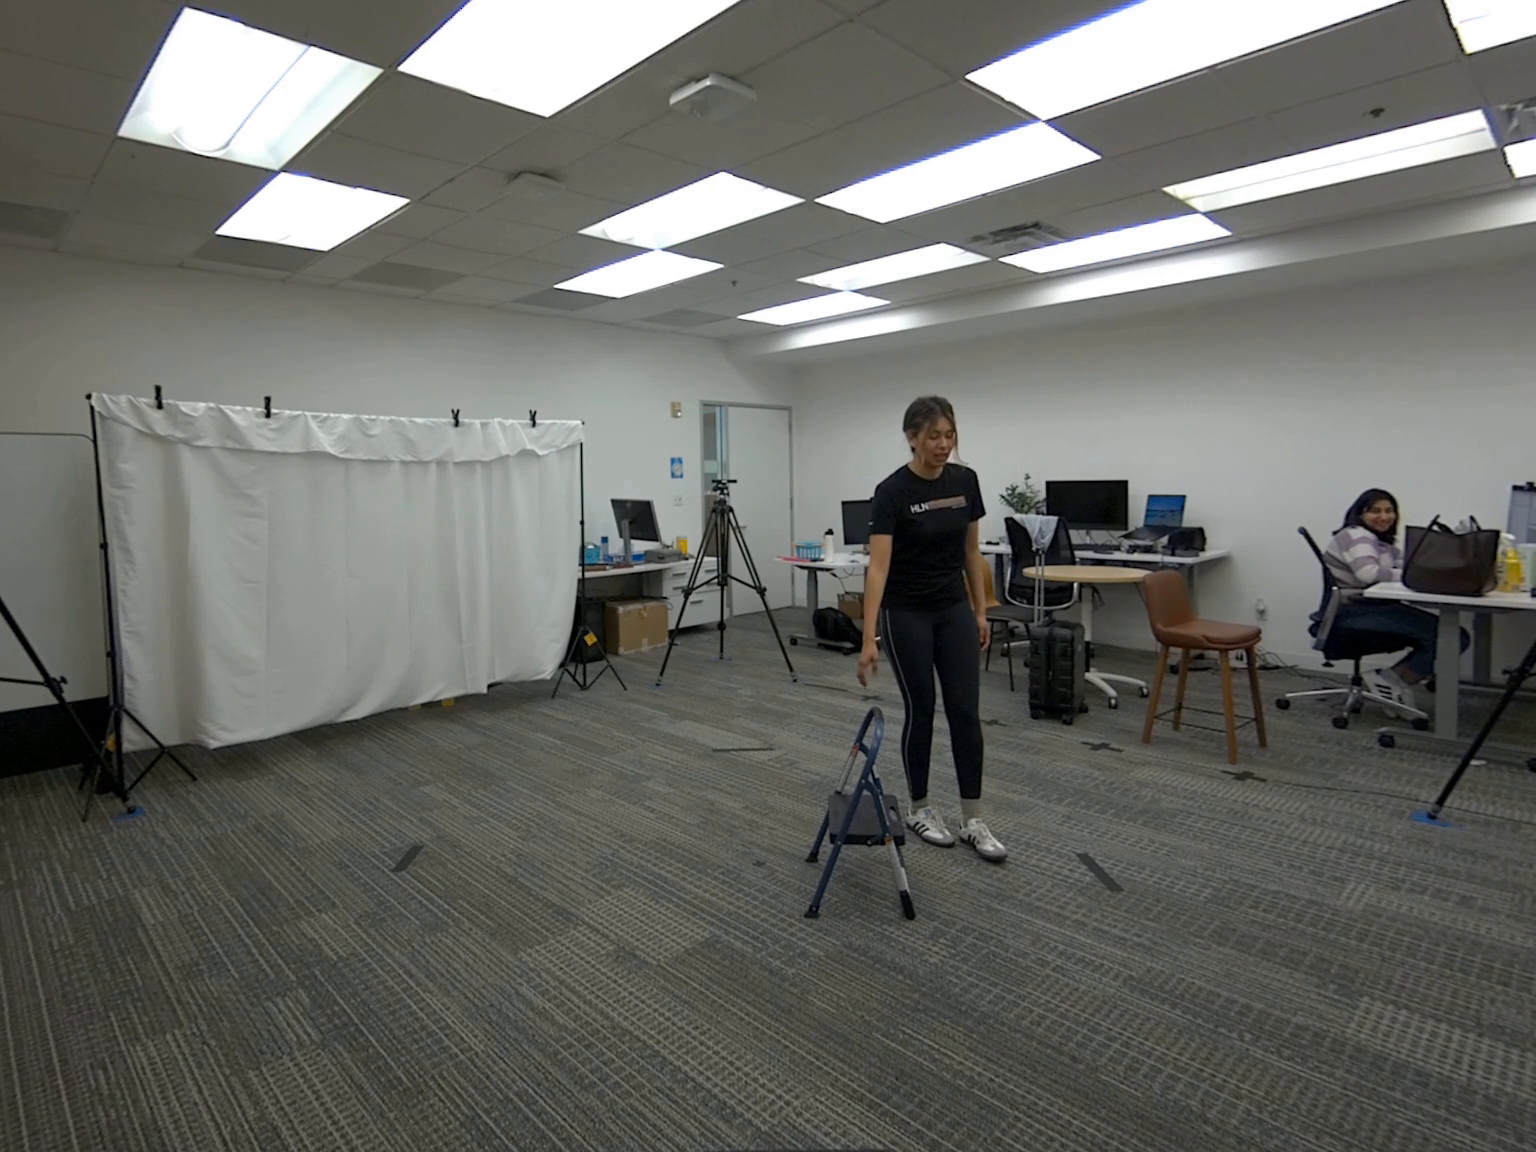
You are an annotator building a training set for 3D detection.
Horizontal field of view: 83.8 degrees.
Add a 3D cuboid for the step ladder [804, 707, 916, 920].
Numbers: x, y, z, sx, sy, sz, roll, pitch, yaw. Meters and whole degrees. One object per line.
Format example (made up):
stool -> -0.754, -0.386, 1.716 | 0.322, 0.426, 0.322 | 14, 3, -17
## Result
step ladder -> 0.302, 0.765, 2.892 | 0.351, 0.604, 0.430 | -2, 4, 4
